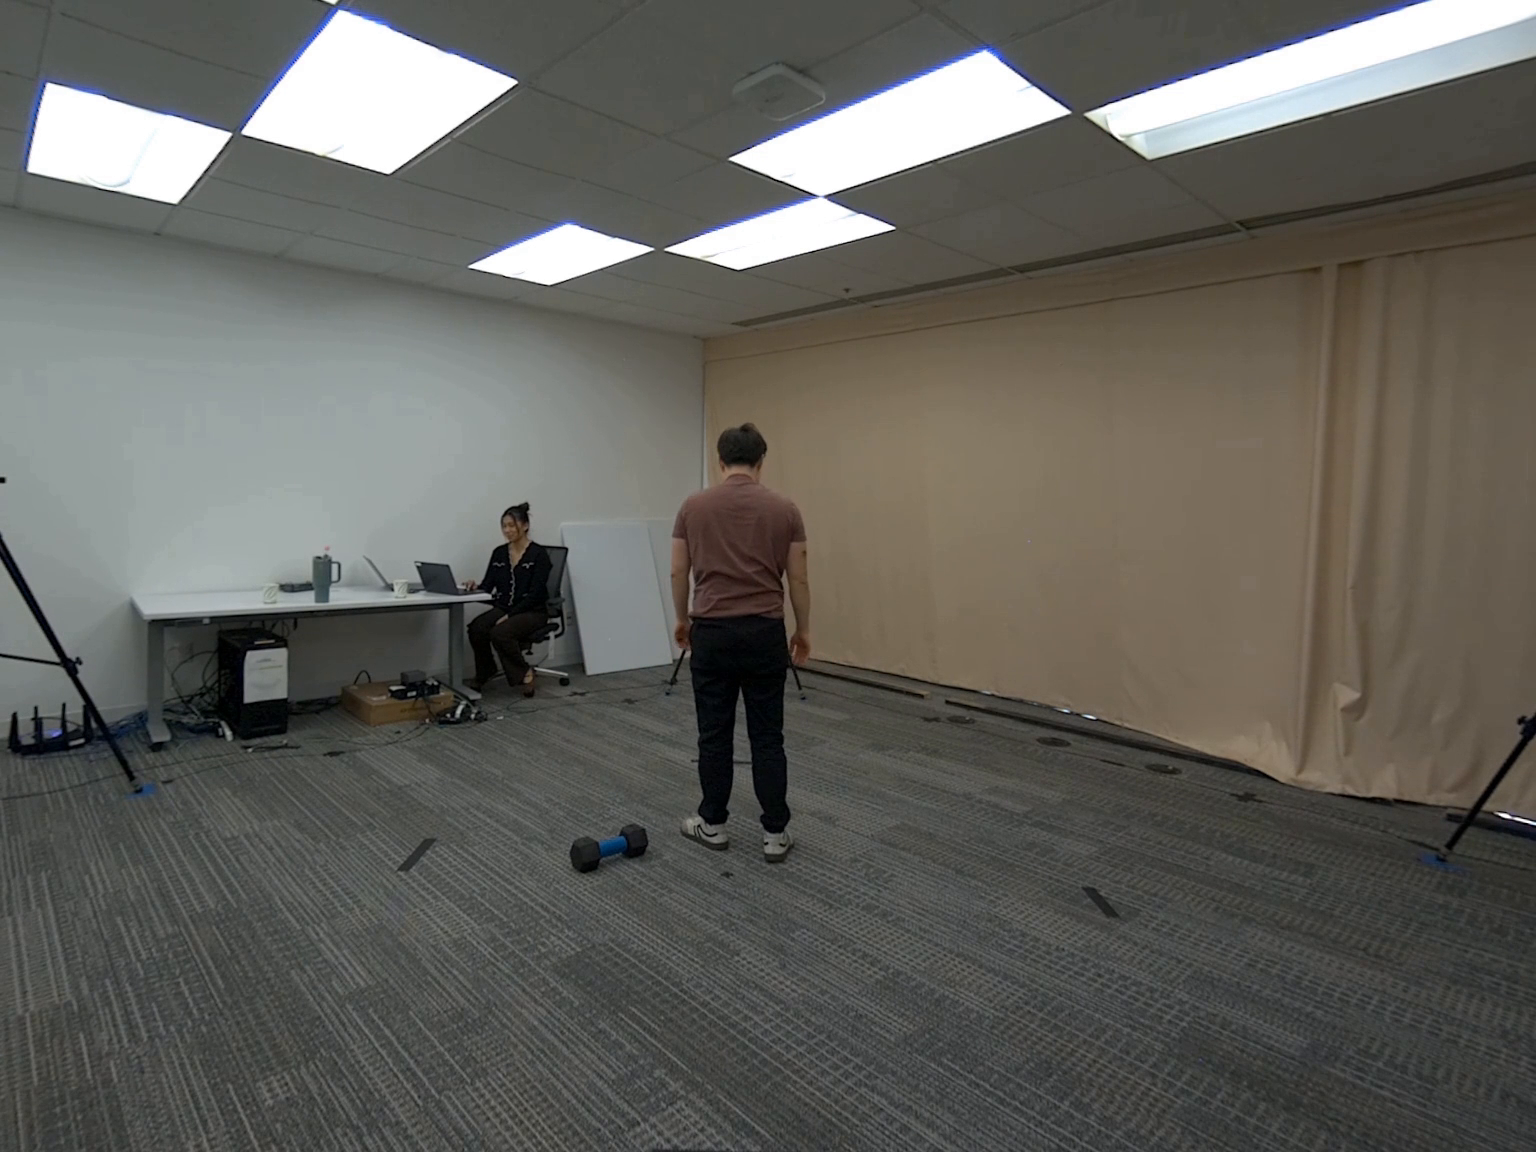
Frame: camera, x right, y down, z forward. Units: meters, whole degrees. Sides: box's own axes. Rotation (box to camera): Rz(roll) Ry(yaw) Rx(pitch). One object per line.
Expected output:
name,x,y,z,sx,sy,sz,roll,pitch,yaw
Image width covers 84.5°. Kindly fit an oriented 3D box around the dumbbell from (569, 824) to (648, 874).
dumbbell,-0.608,1.030,3.190,0.287,0.125,0.109,-4,-24,-42
